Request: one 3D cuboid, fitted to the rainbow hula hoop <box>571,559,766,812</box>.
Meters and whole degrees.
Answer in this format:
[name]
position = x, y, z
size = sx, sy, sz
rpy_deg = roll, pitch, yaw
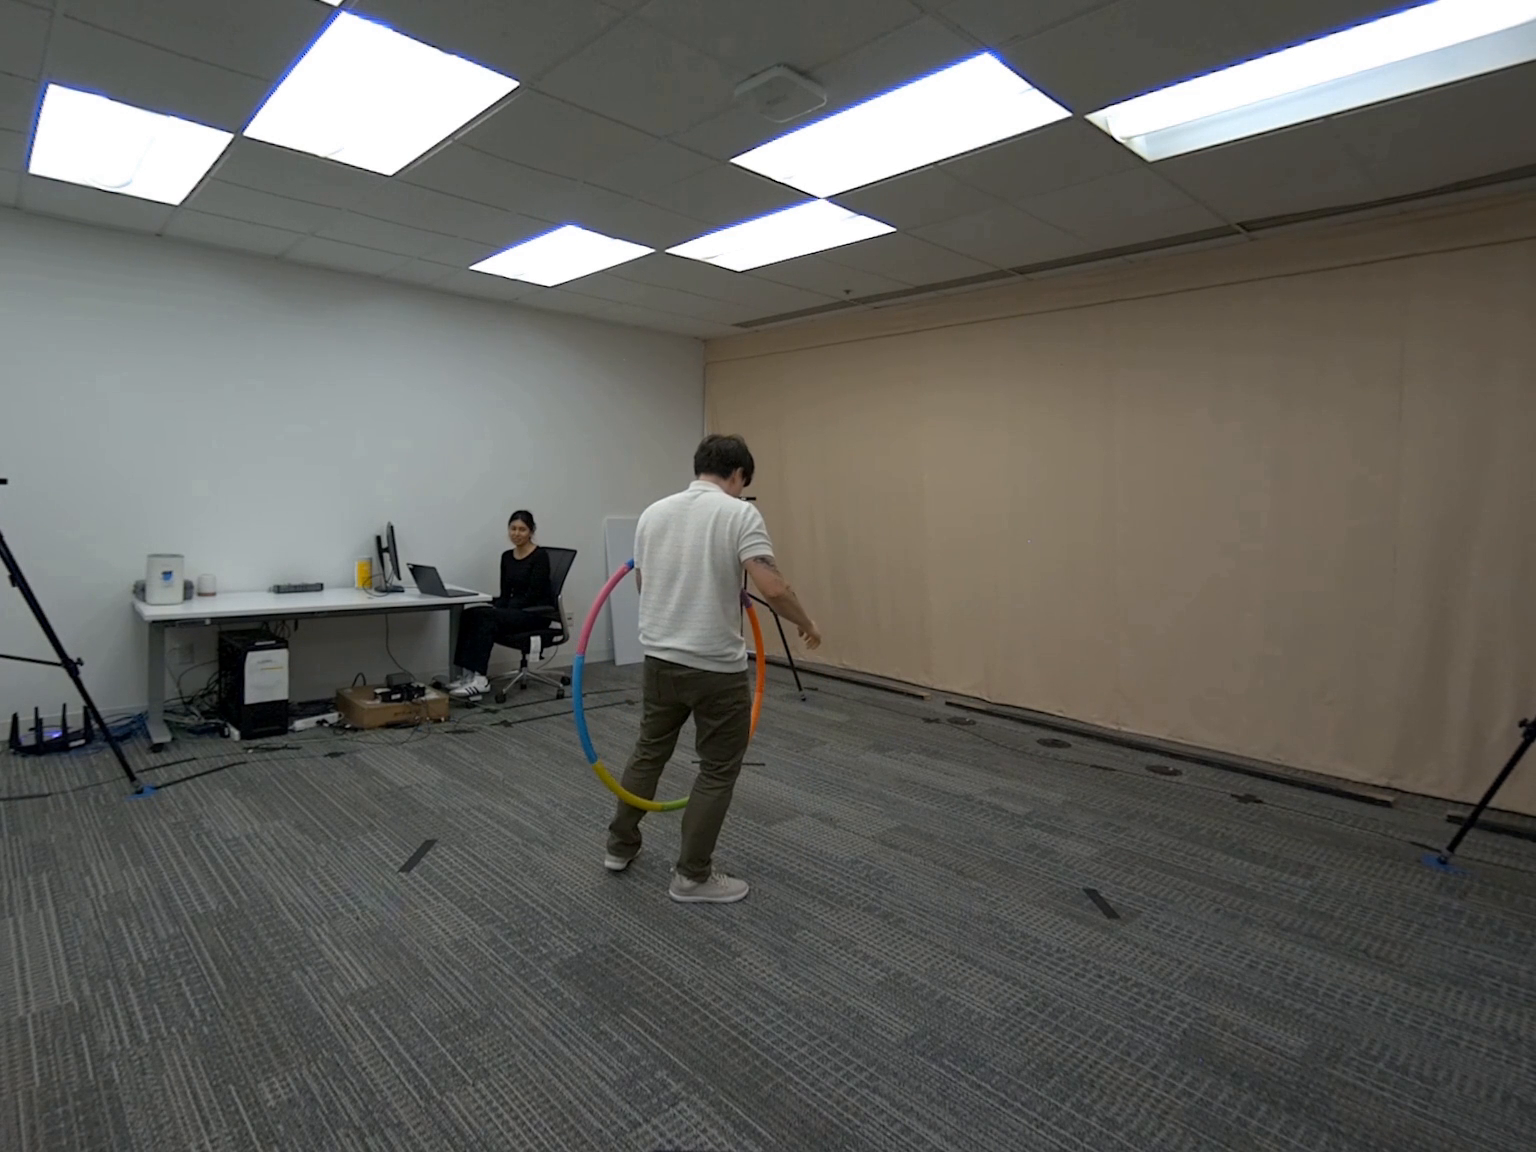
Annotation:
[rainbow hula hoop]
position = -0.344, 0.376, 3.179
size = 0.036, 0.979, 0.957
rpy_deg = -4, 0, 40
